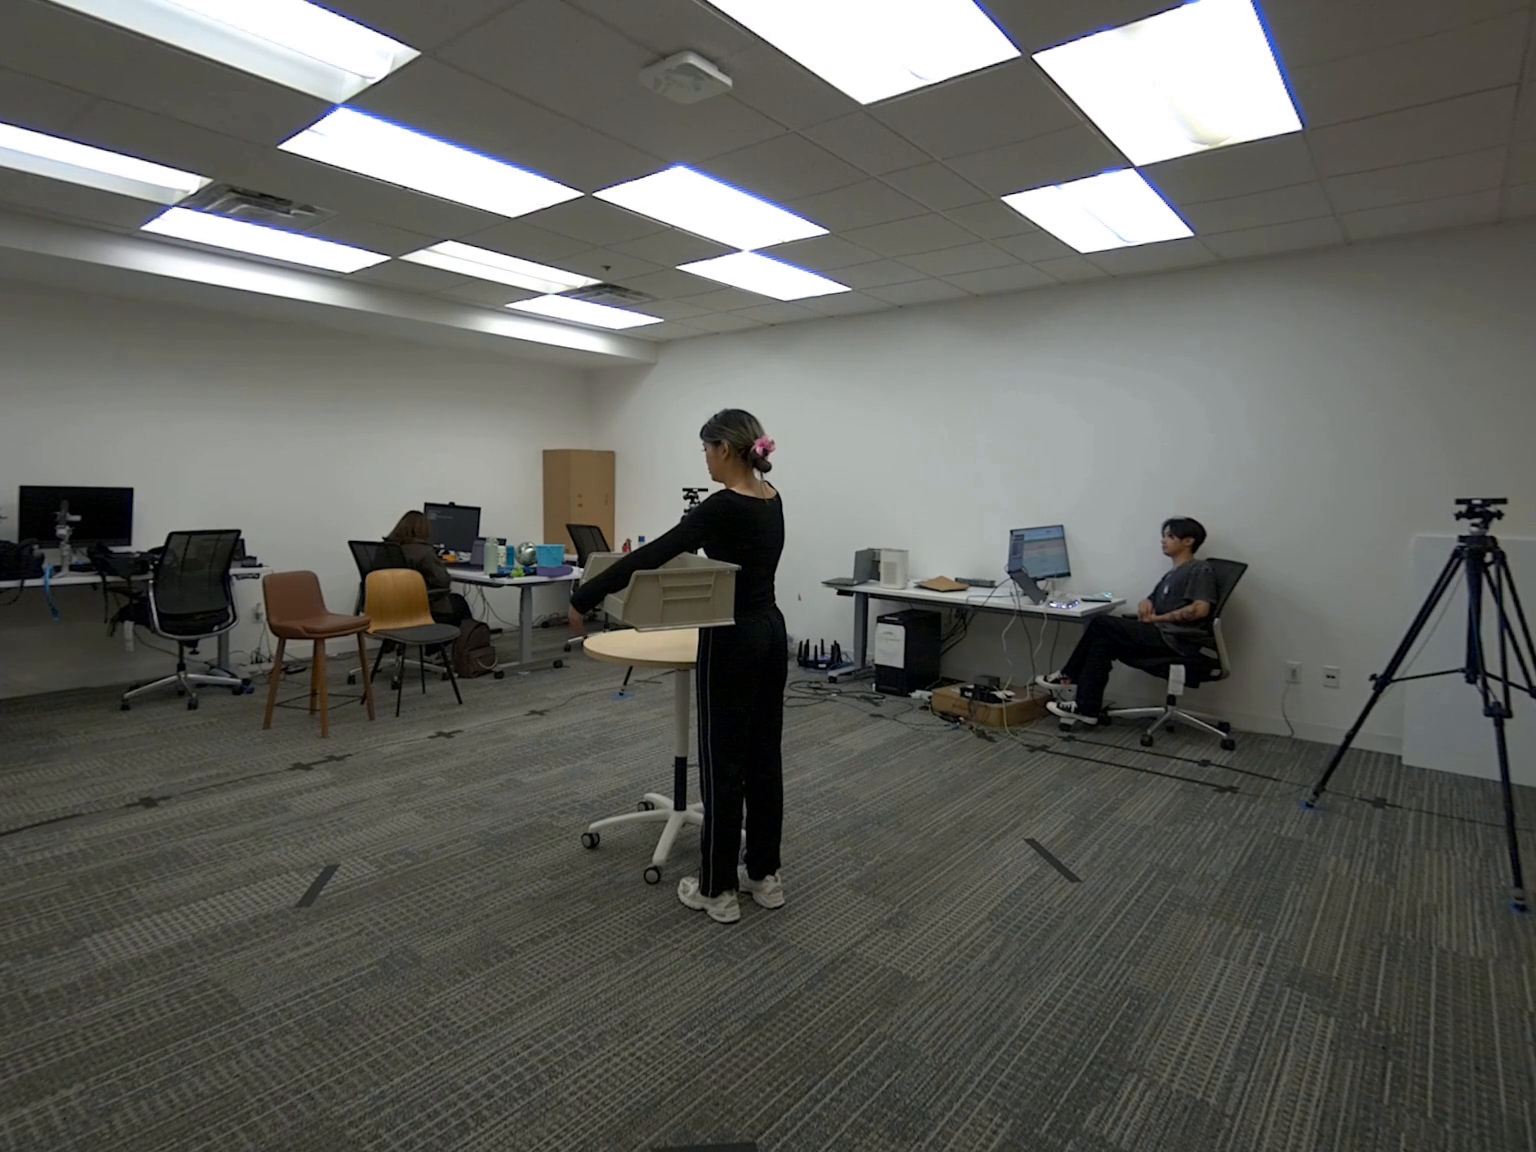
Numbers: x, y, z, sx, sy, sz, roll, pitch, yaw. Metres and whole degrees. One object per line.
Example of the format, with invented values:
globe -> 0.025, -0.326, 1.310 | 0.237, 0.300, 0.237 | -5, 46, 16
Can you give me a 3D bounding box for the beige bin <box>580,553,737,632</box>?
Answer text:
beige bin -> -0.366, 0.041, 2.667 | 0.368, 0.188, 0.435 | -1, 7, -26
